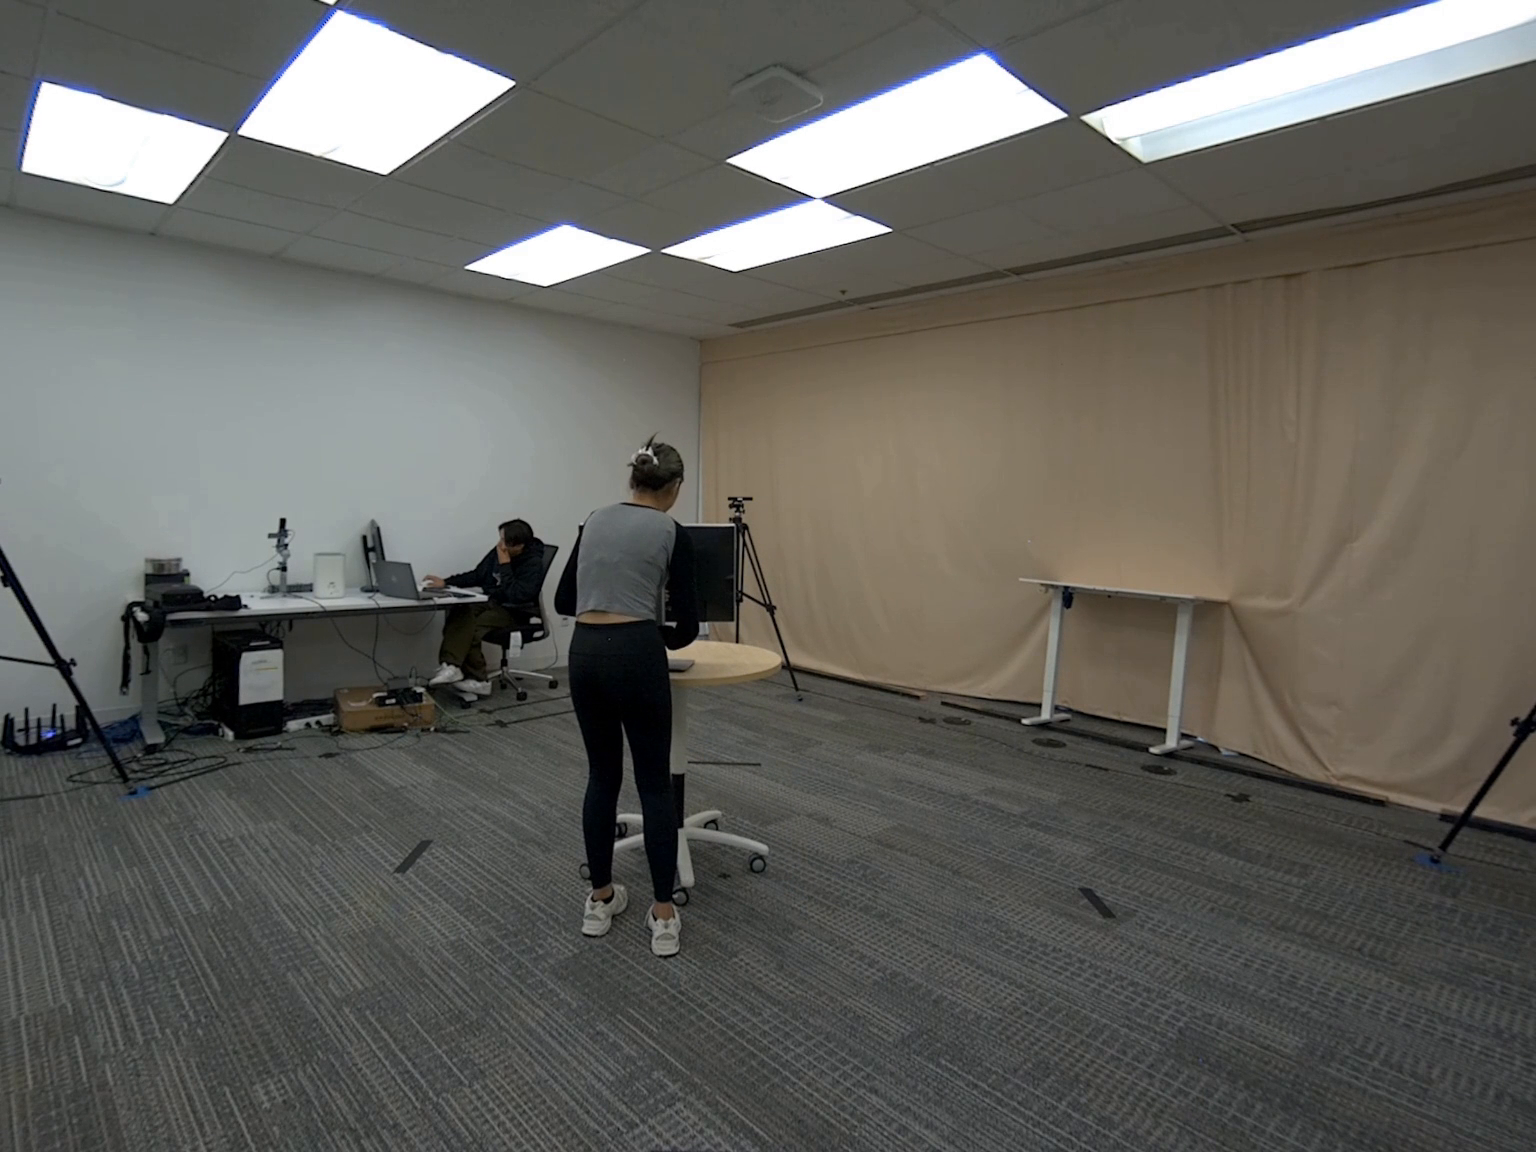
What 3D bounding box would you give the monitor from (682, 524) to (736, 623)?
[{"bbox_3d":[-0.387,0.079,2.979,0.538,0.521,0.187,0,3,-1],"label":"monitor"}]
